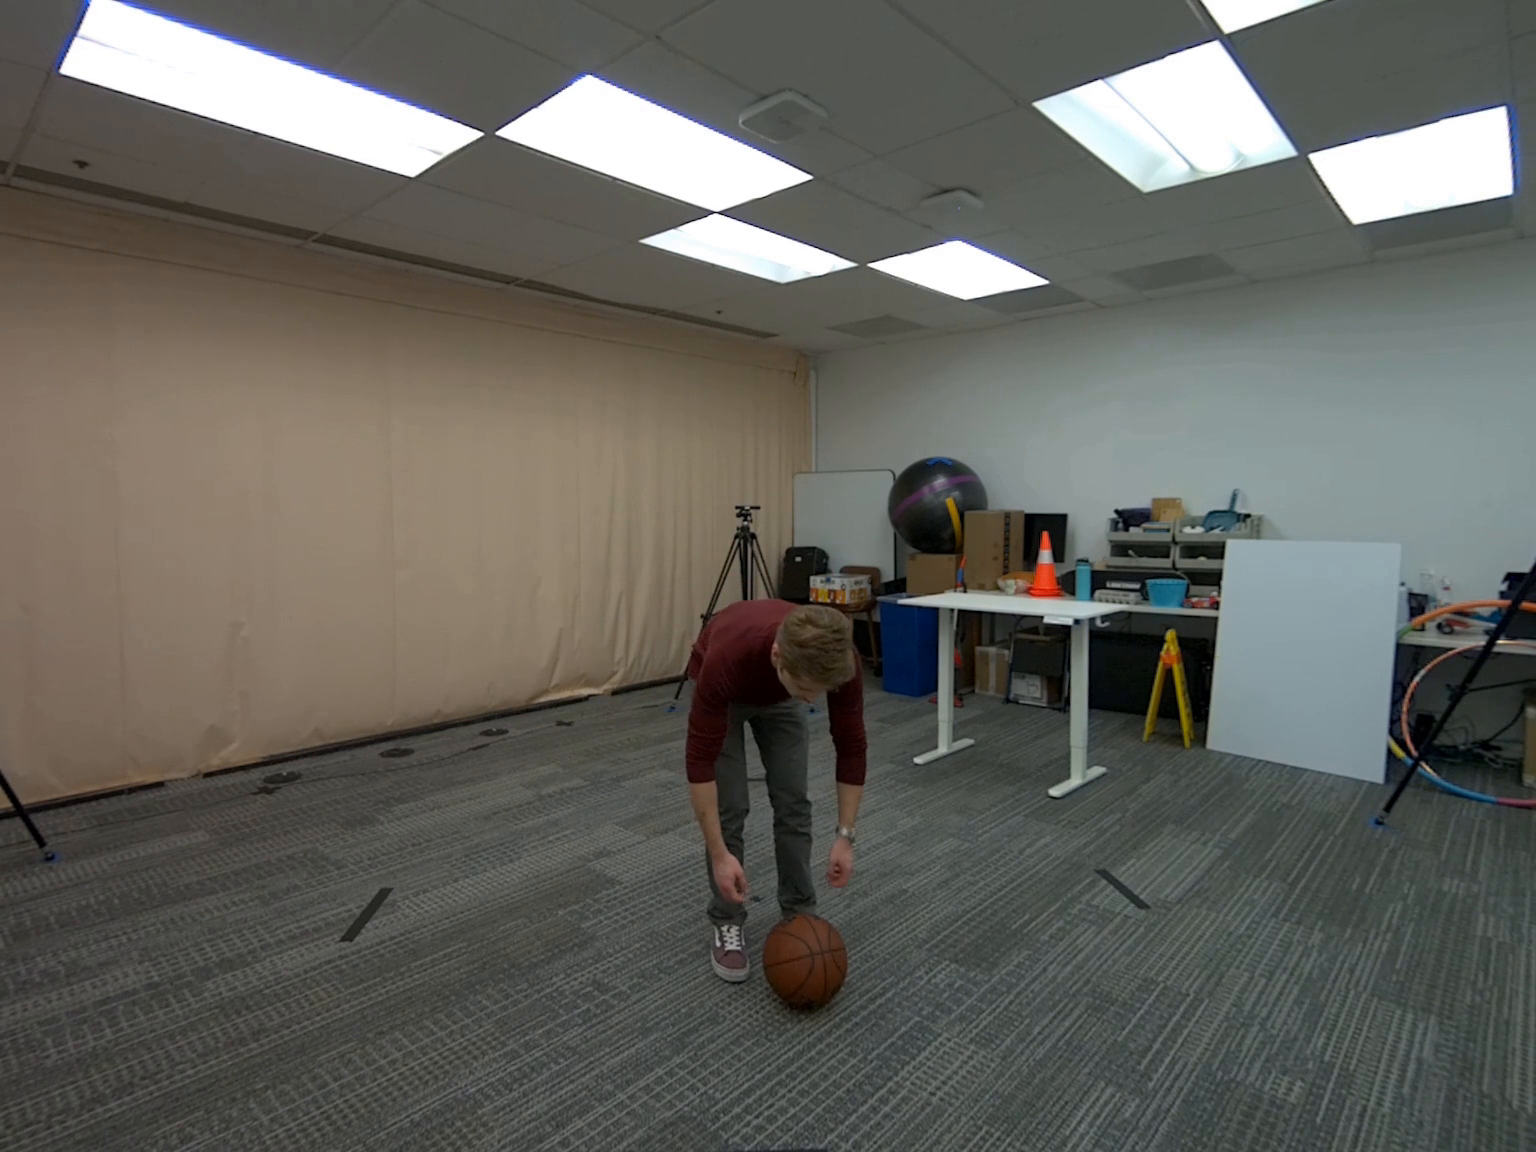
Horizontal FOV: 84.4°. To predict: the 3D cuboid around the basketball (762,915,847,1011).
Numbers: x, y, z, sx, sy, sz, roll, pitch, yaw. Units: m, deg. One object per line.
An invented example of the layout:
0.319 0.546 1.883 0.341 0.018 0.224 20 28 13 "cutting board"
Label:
0.105 1.076 2.360 0.236 0.235 0.237 0 4 -2 "basketball"
